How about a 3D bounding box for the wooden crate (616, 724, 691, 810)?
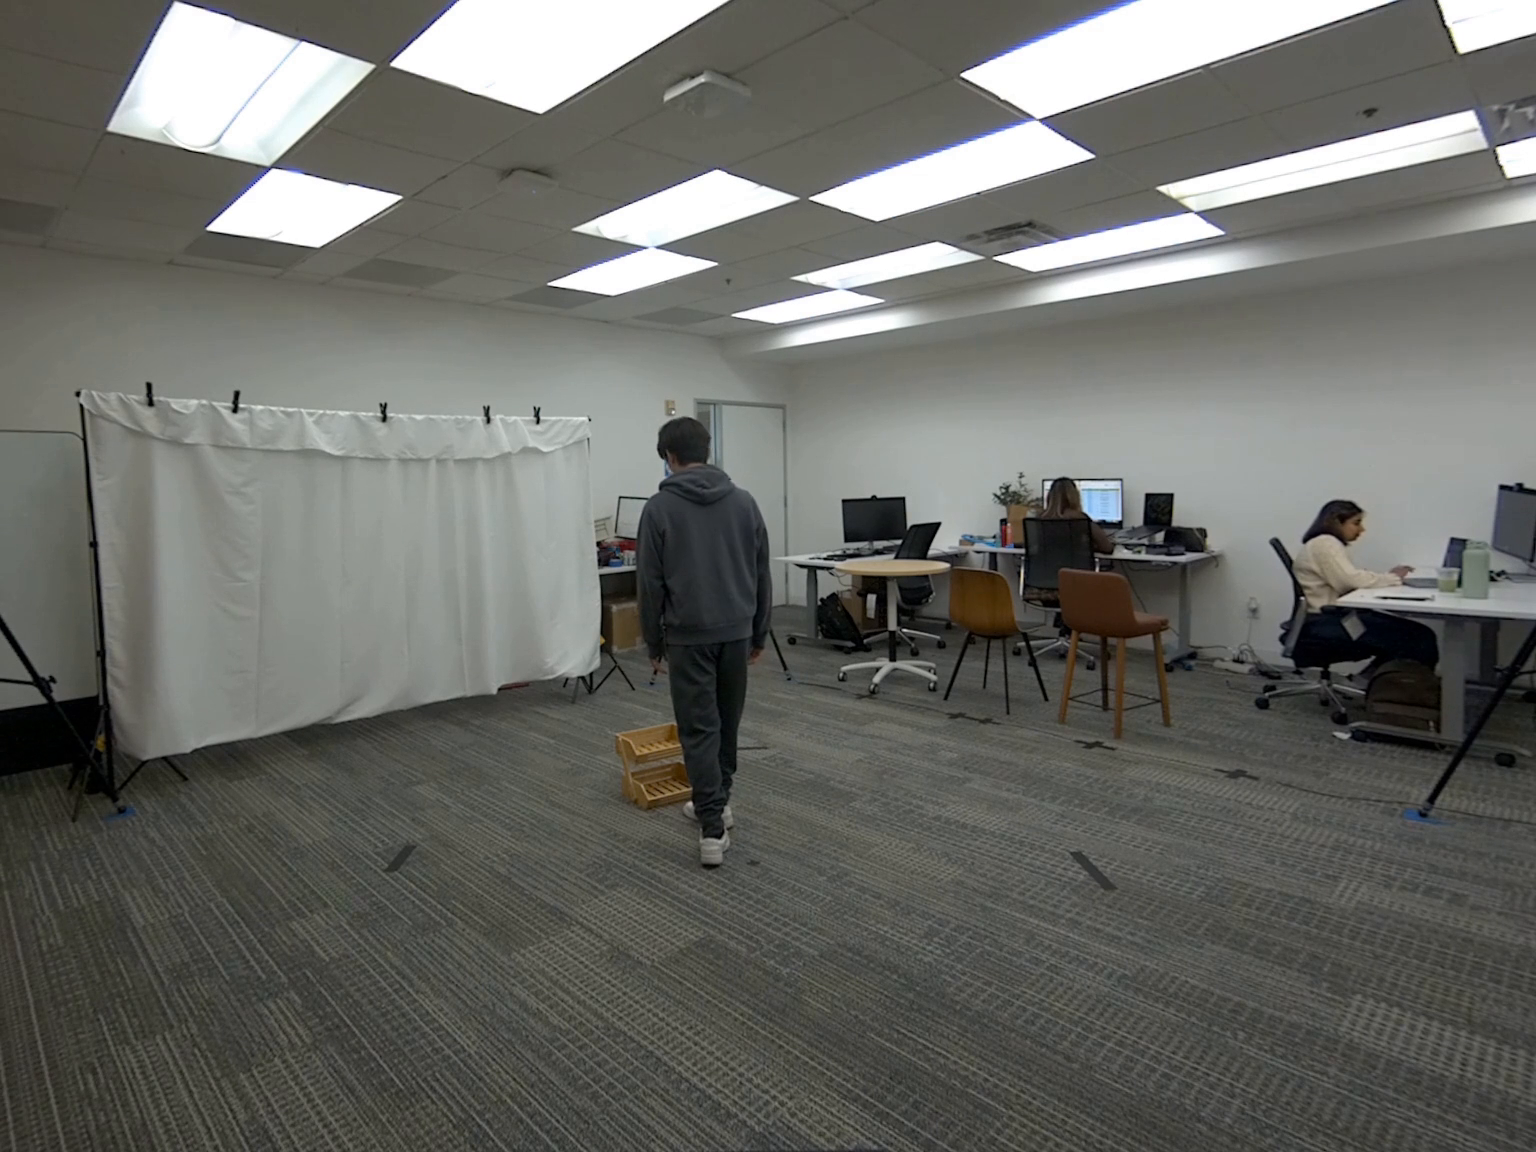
[{"bbox_3d":[-0.478,0.835,3.817,0.316,0.272,0.311,-4,5,-35],"label":"wooden crate"}]
